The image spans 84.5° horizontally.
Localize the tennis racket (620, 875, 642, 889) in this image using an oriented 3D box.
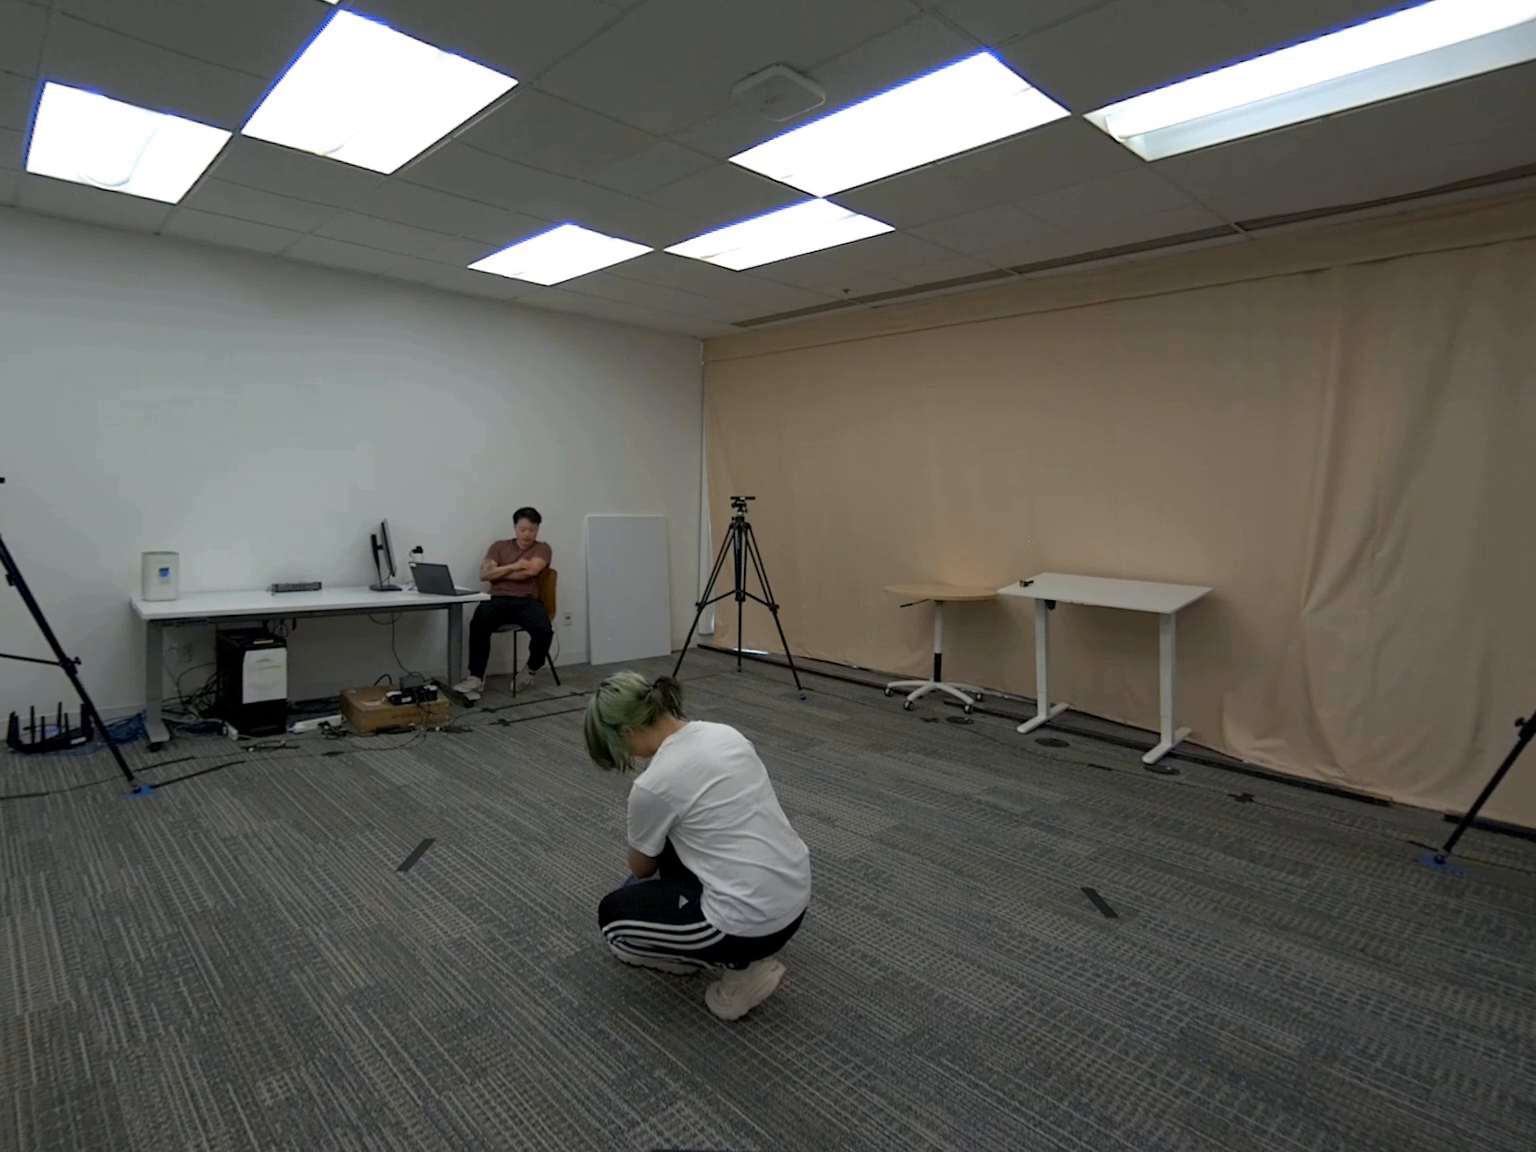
[{"bbox_3d":[-0.350,0.958,2.707,0.207,0.432,0.033,21,20,-48],"label":"tennis racket"}]
